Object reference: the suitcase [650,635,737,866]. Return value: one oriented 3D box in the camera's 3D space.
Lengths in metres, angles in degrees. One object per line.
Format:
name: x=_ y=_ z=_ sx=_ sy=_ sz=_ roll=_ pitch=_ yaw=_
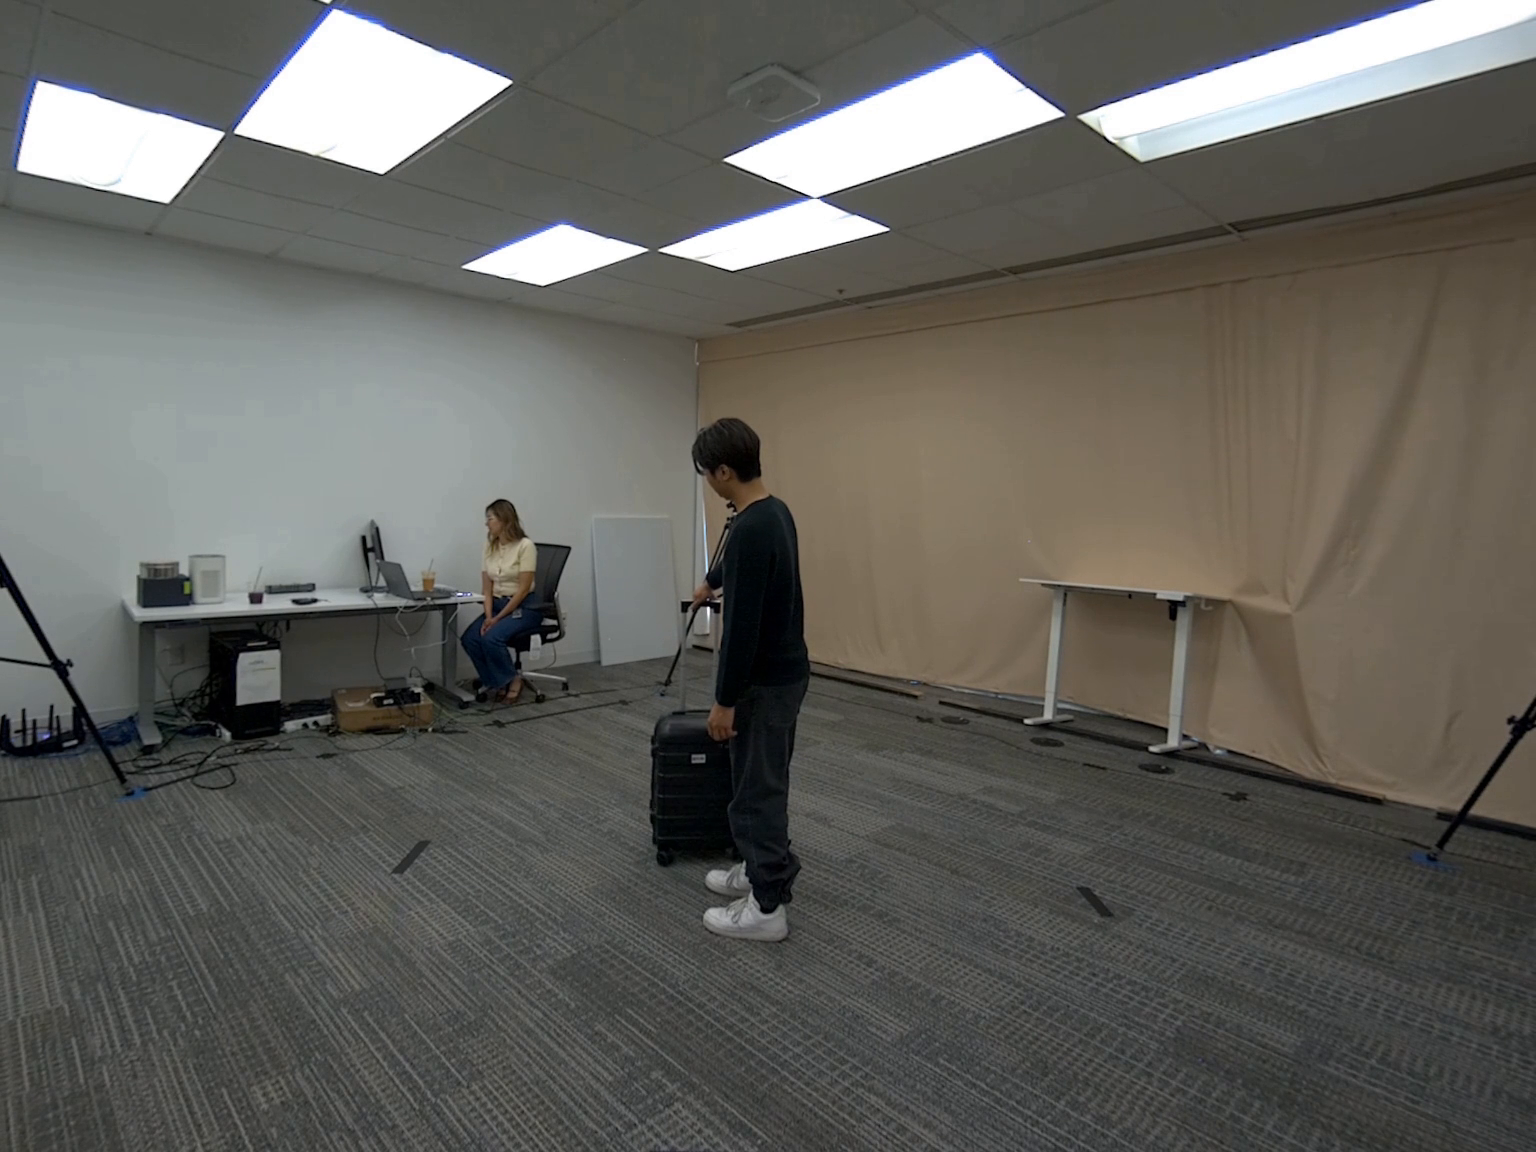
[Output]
suitcase: x=-0.272 y=0.608 z=3.282 sx=0.382 sy=0.975 sz=0.259 roll=1 pitch=5 yaw=-6
